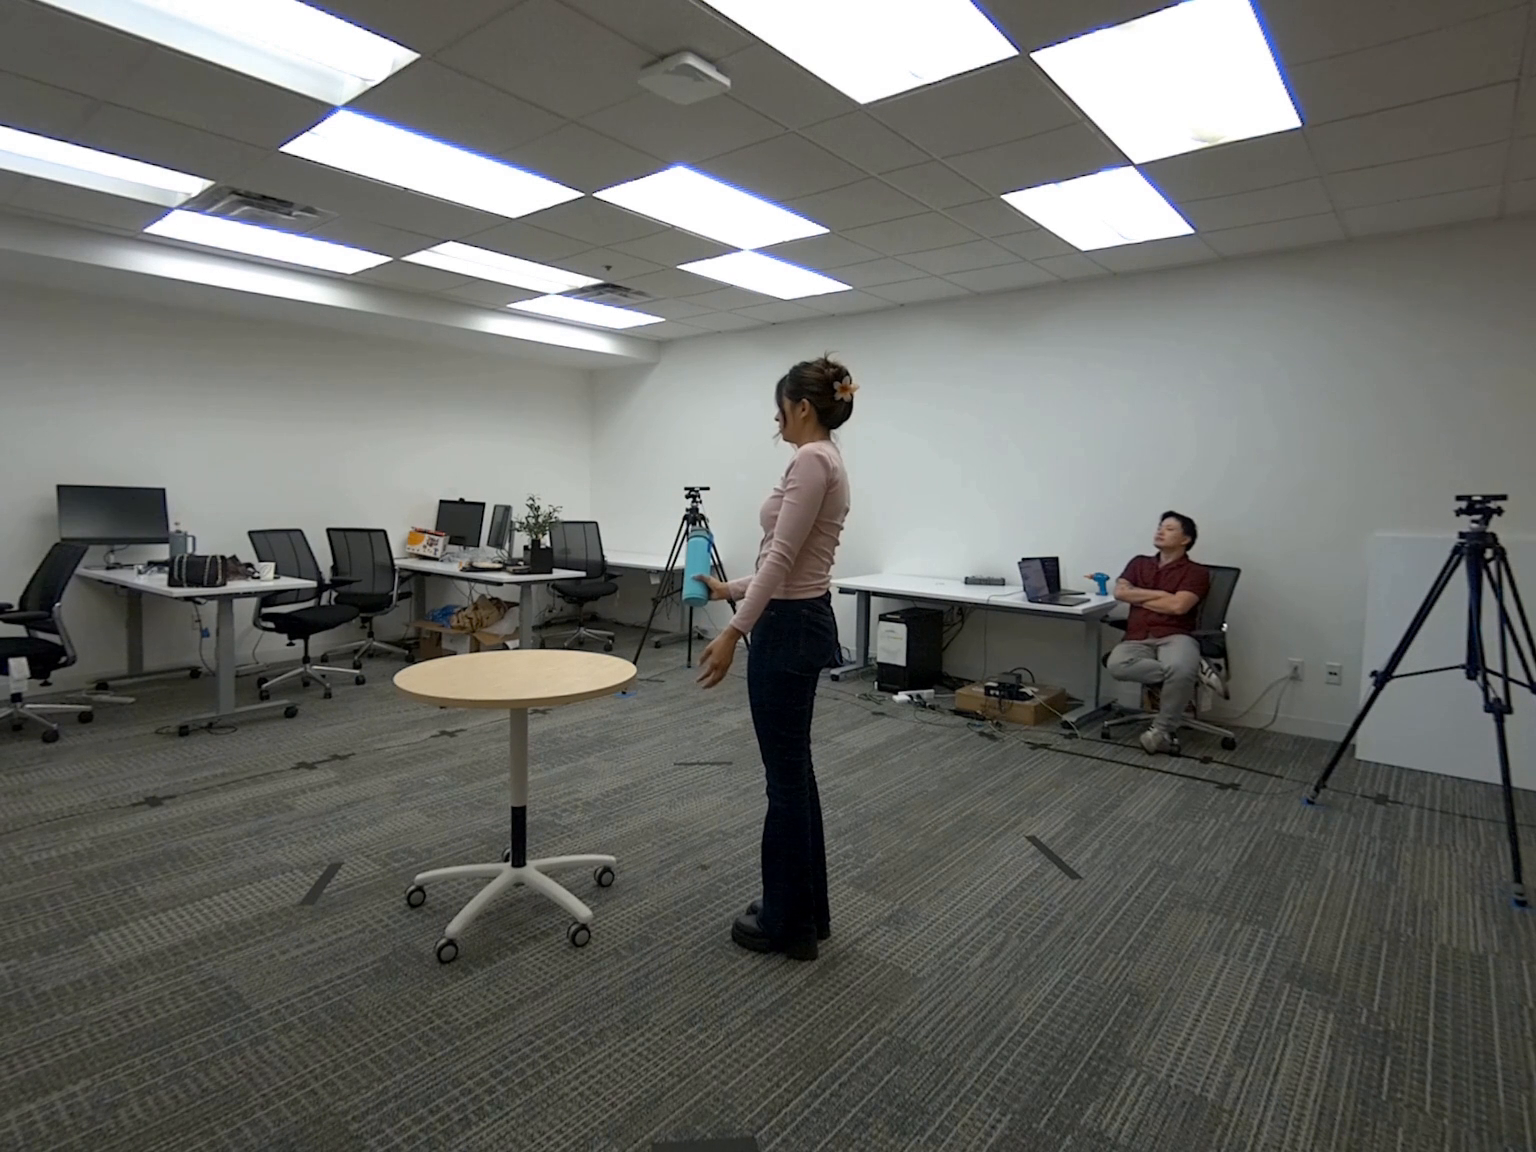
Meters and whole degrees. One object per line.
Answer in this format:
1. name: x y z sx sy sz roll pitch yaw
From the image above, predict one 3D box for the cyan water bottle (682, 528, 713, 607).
1. cyan water bottle: -0.246 -0.044 2.949 0.092 0.289 0.090 3 -26 0
